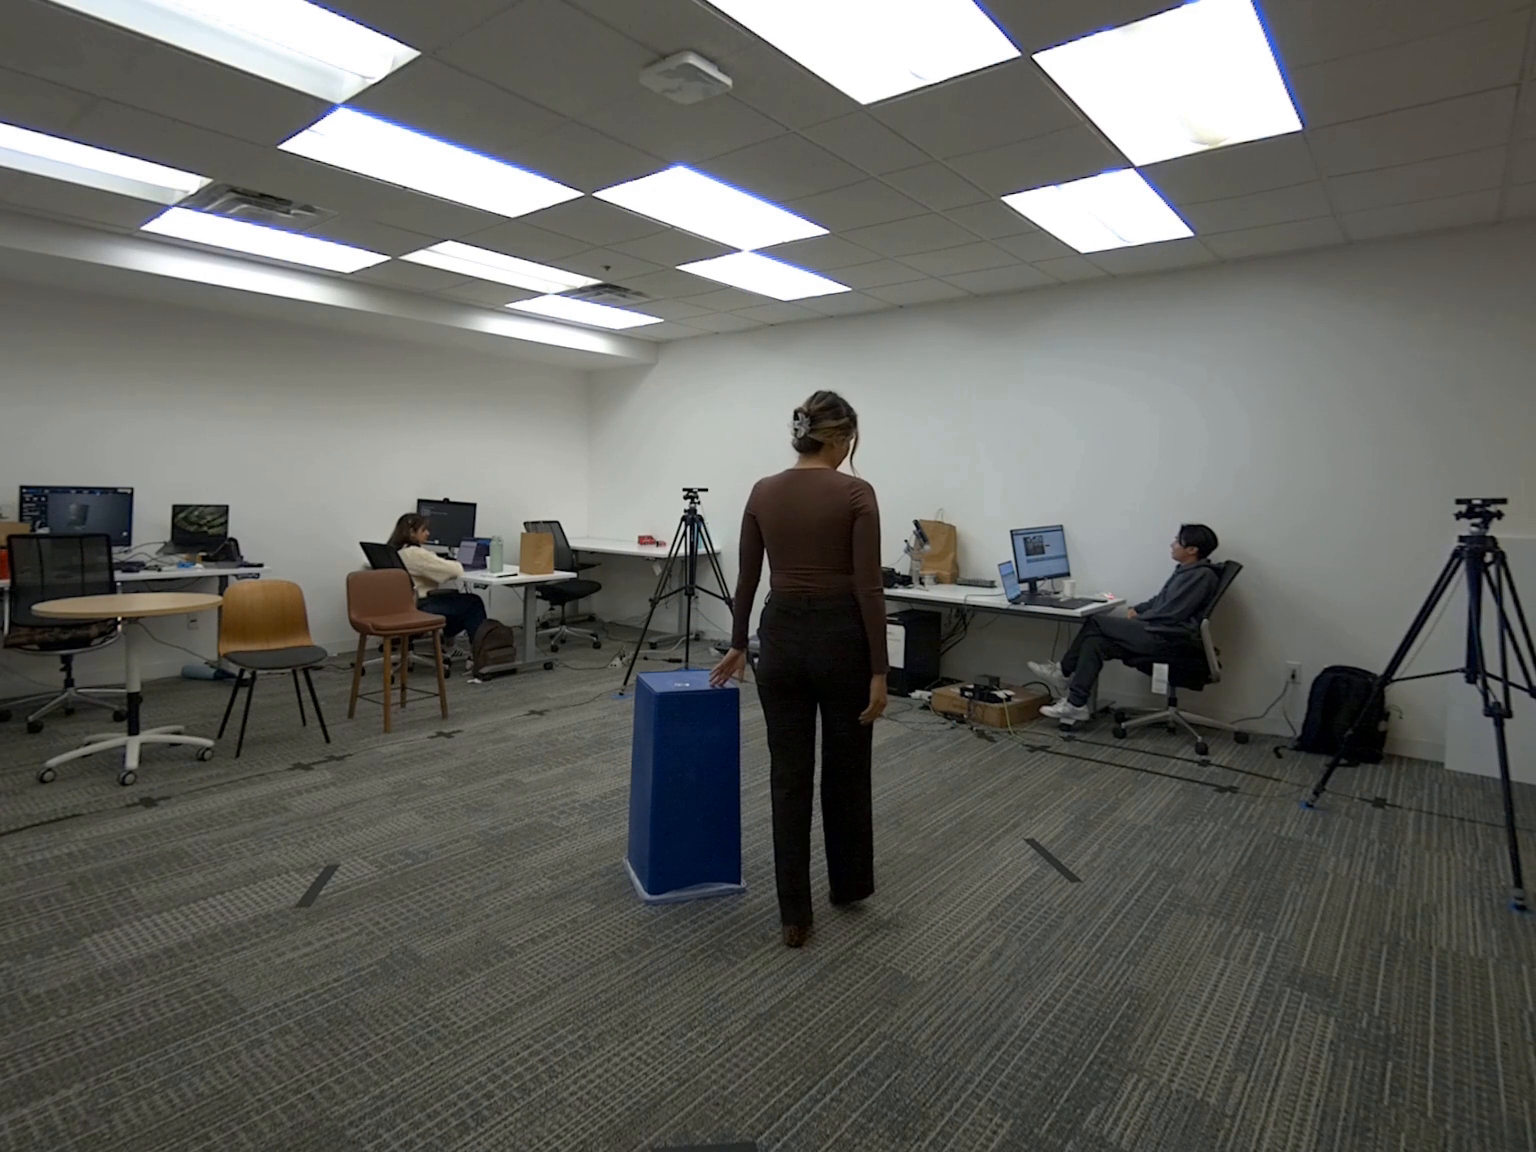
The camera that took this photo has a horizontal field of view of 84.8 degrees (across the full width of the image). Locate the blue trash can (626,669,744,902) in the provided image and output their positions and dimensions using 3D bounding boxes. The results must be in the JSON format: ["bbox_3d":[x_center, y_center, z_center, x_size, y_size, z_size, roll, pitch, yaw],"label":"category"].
[{"bbox_3d":[-0.309,0.722,3.028,0.370,0.711,0.383,0,4,-21],"label":"blue trash can"}]
